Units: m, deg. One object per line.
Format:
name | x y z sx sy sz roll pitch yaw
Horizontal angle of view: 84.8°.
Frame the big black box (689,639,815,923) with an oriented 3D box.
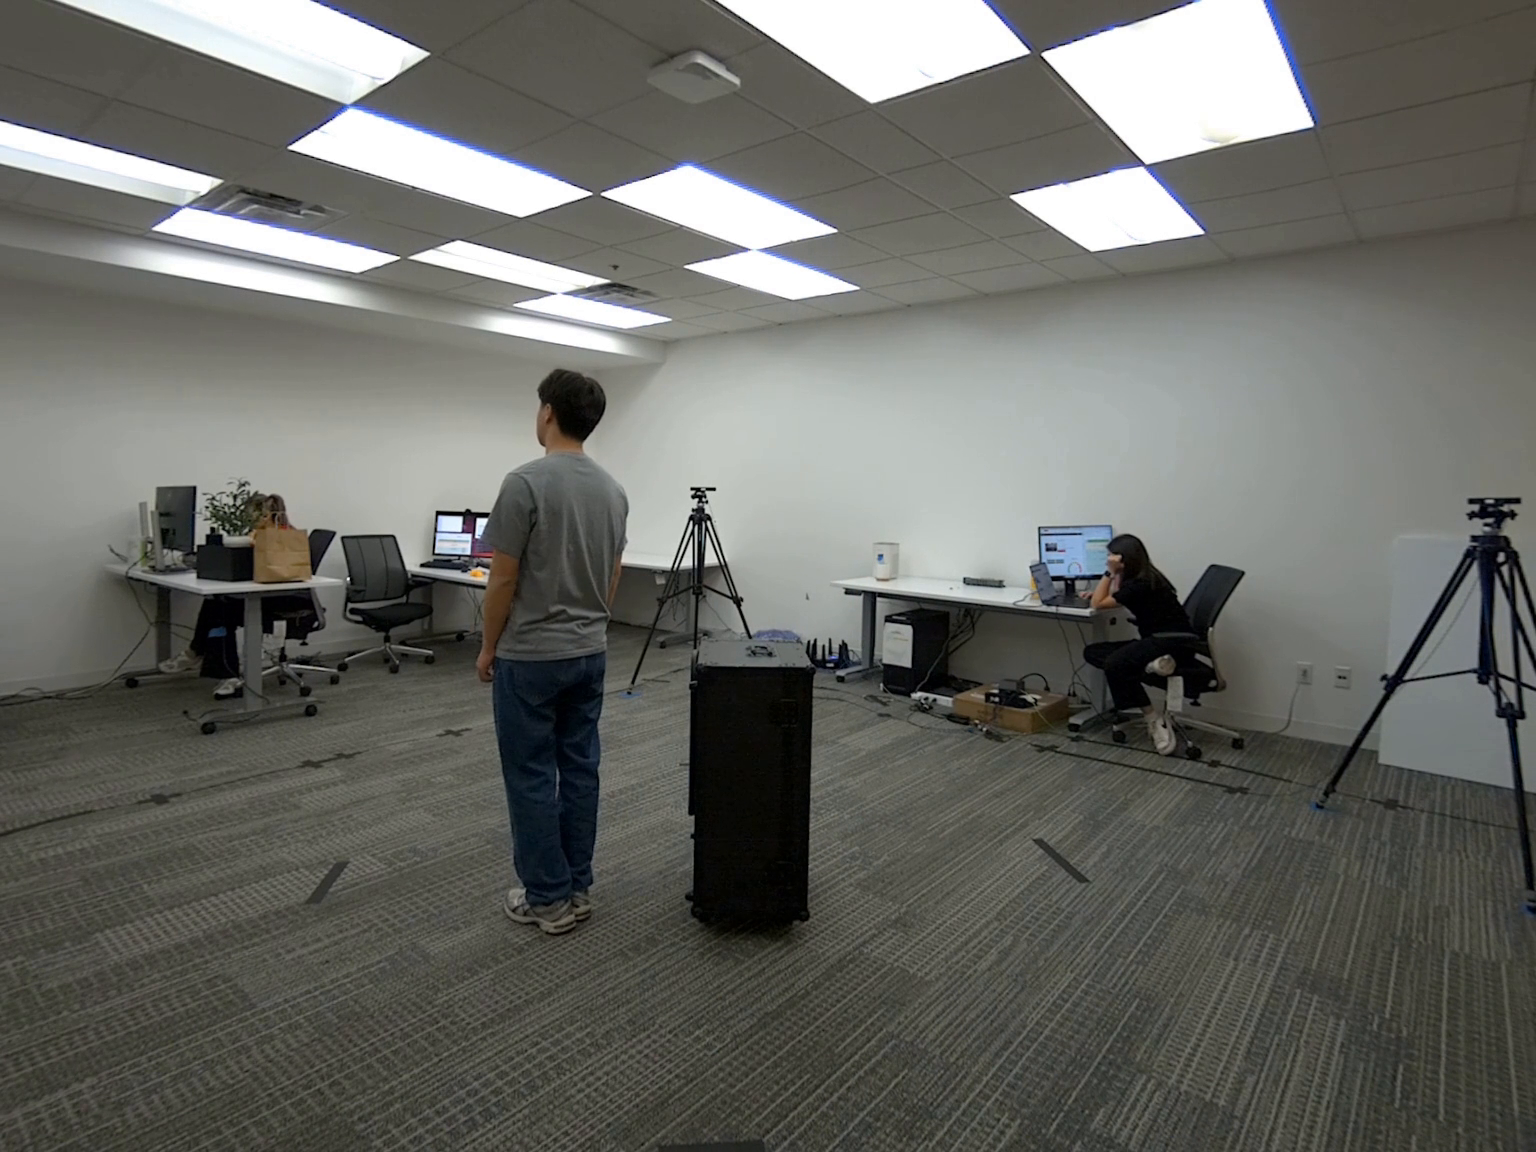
big black box | -0.075 0.674 2.814 0.396 0.859 0.523 1 4 -1
